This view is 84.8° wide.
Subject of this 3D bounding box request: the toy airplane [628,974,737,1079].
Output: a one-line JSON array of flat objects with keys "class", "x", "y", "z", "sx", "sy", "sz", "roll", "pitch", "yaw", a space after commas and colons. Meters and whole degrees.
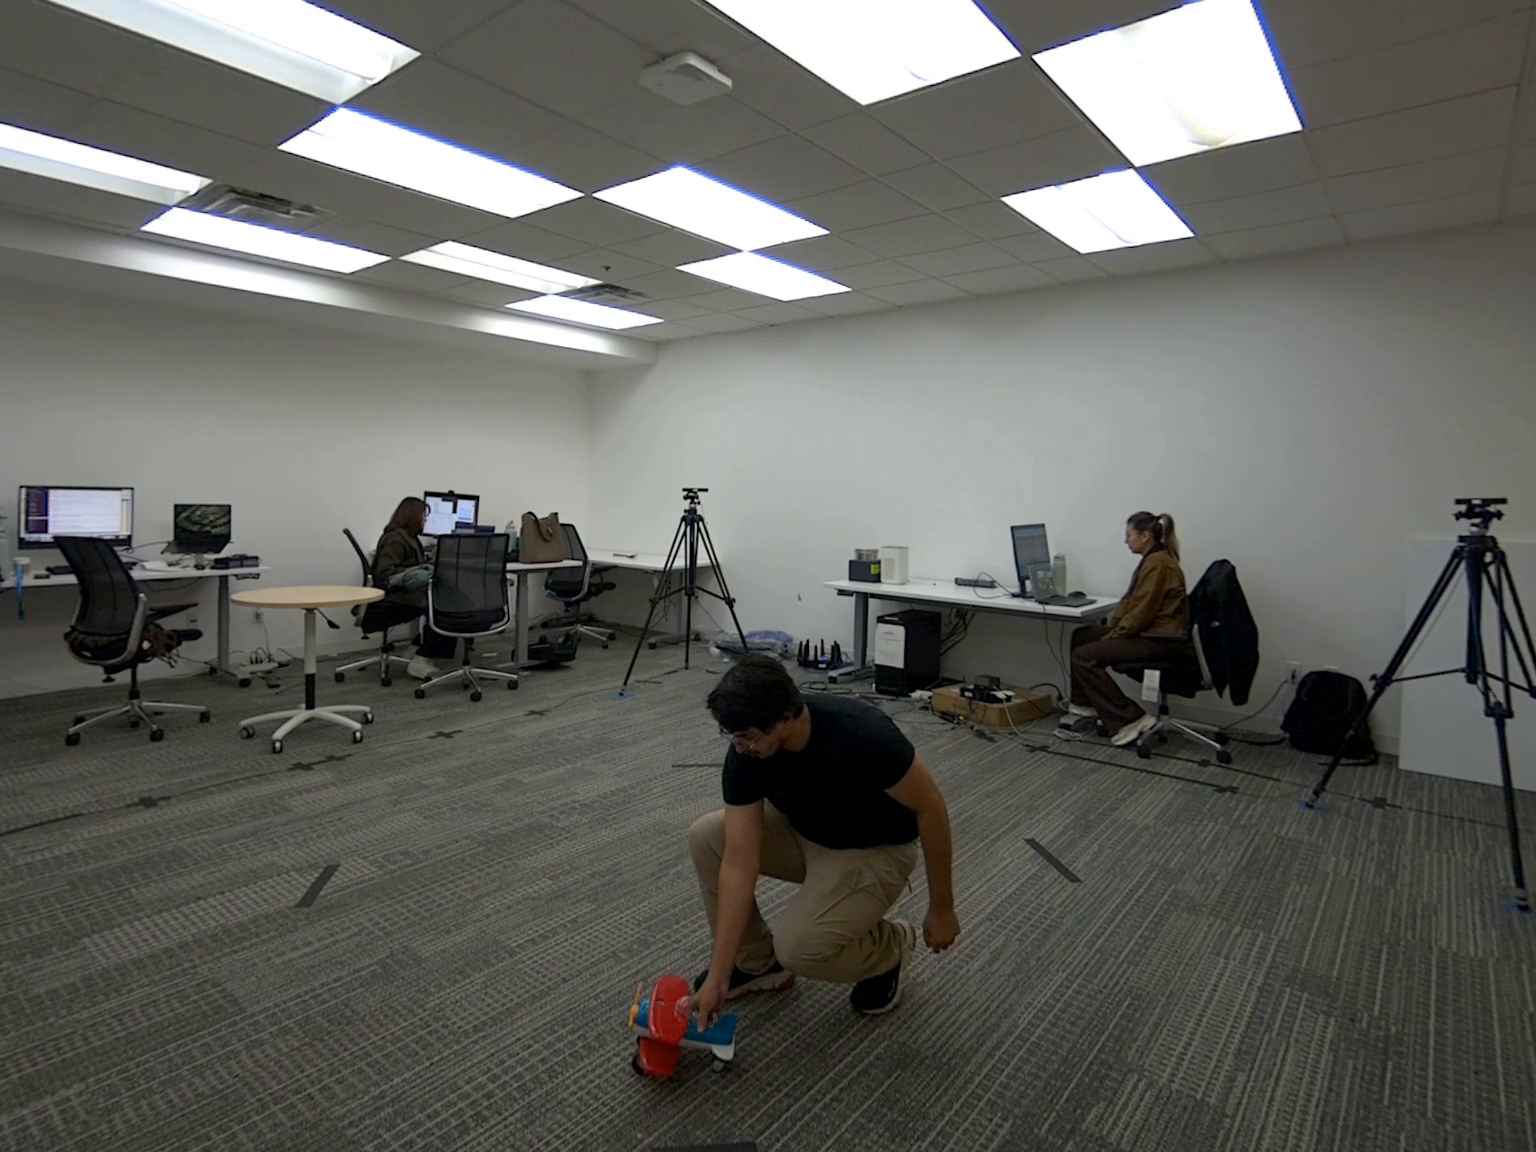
[{"class": "toy airplane", "x": -0.212, "y": 1.101, "z": 2.080, "sx": 0.253, "sy": 0.156, "sz": 0.258, "roll": -2, "pitch": 6, "yaw": -27}]
